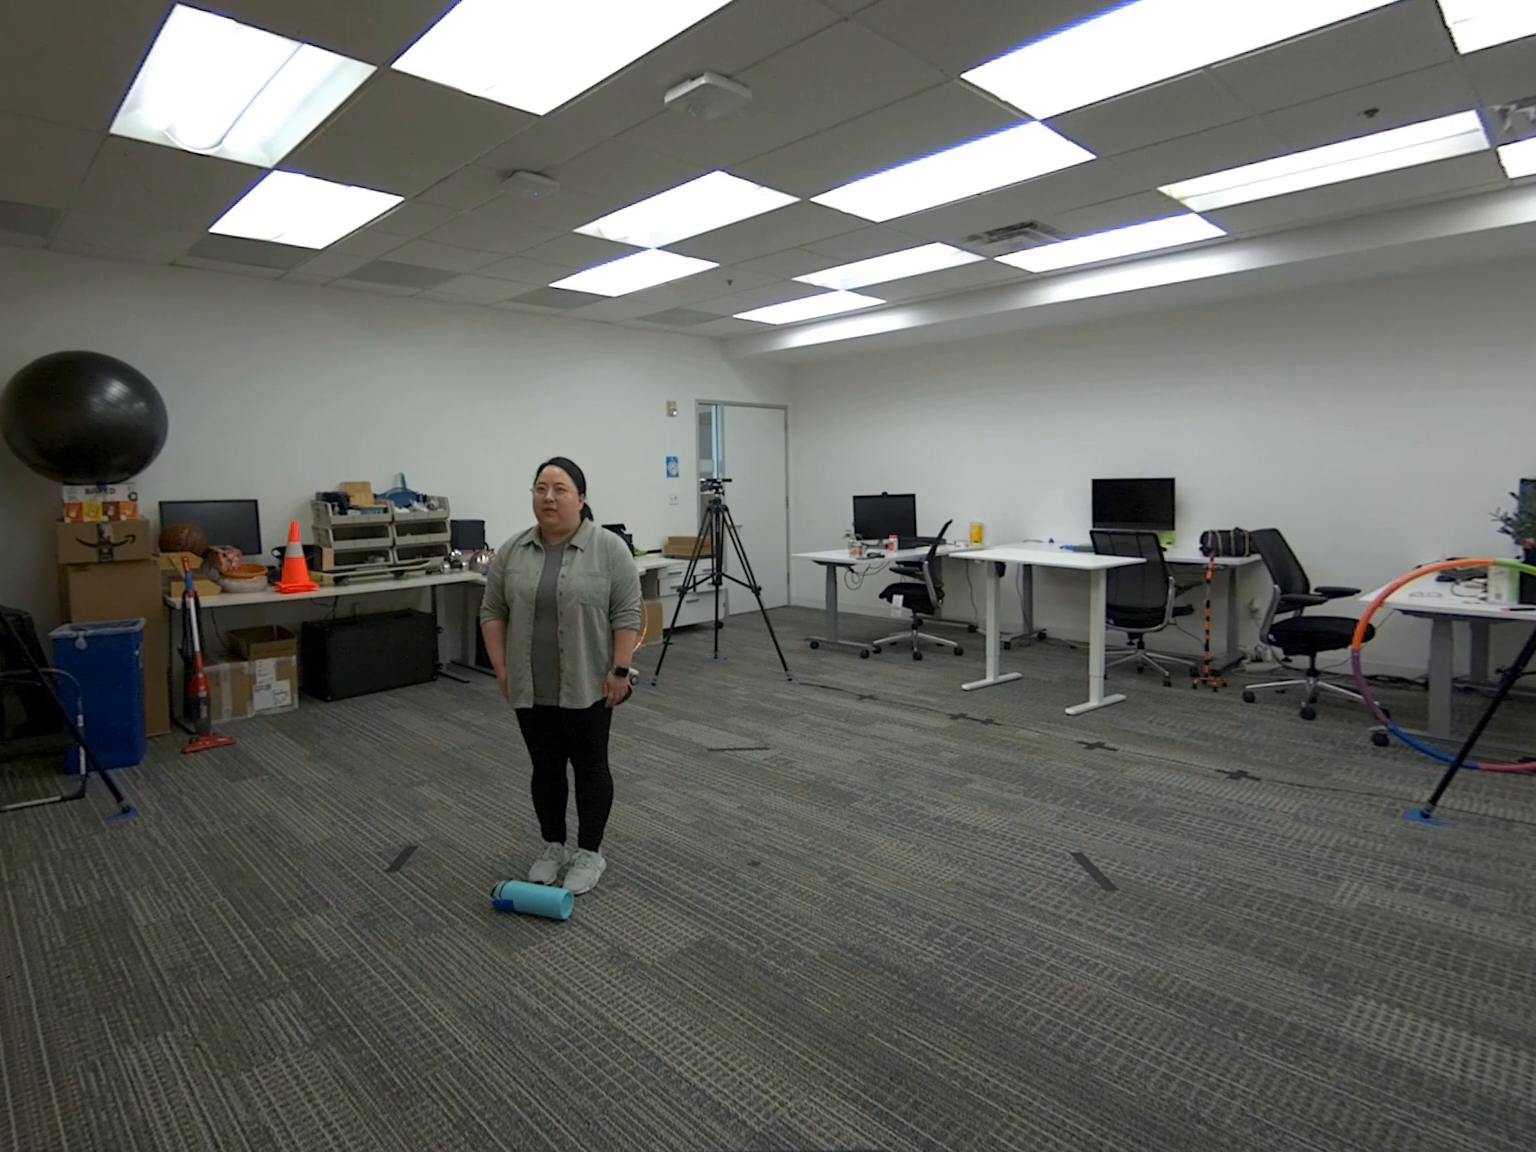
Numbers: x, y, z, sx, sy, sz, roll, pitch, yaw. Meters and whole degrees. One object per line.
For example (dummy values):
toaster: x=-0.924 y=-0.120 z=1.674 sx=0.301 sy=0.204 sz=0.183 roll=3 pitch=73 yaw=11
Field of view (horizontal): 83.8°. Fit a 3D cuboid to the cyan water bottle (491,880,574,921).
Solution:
cyan water bottle: x=-0.779 y=1.054 z=2.787 sx=0.289 sy=0.092 sz=0.091 roll=1 pitch=5 yaw=20
